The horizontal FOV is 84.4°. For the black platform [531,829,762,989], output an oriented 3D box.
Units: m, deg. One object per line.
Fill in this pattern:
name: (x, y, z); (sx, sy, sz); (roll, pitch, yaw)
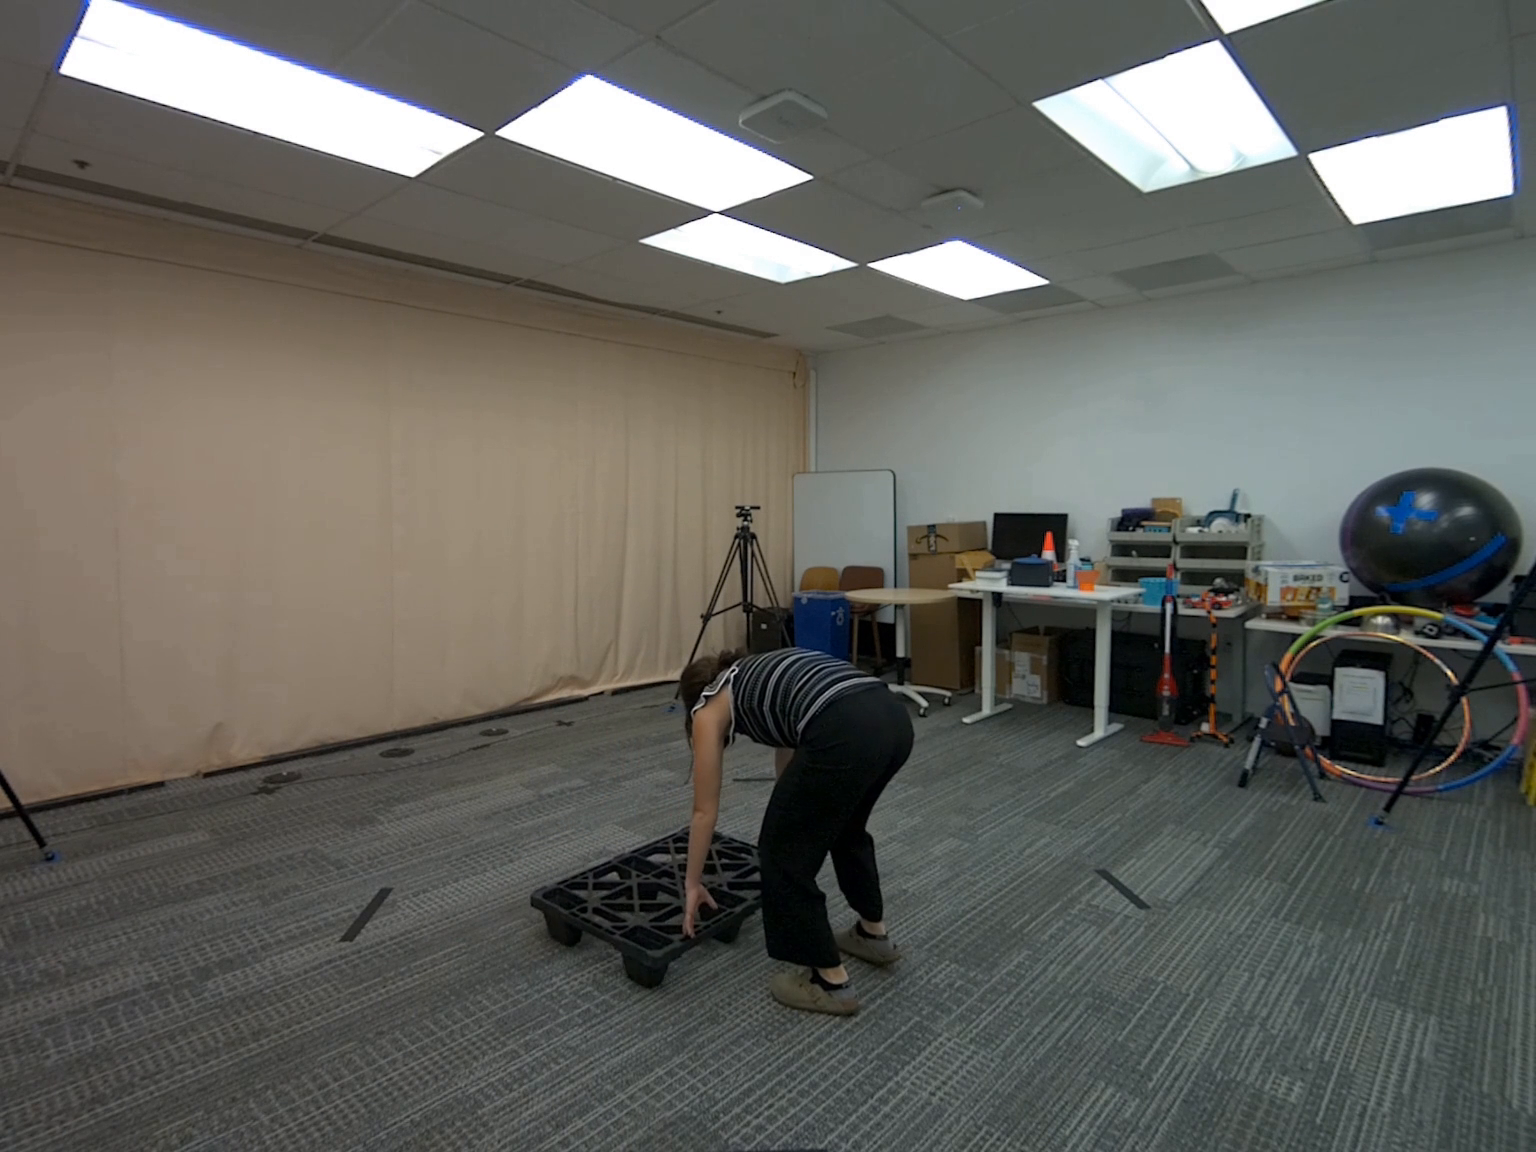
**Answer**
black platform: (-0.304, 1.090, 2.847); (0.625, 0.143, 0.781); (3, 6, 39)
